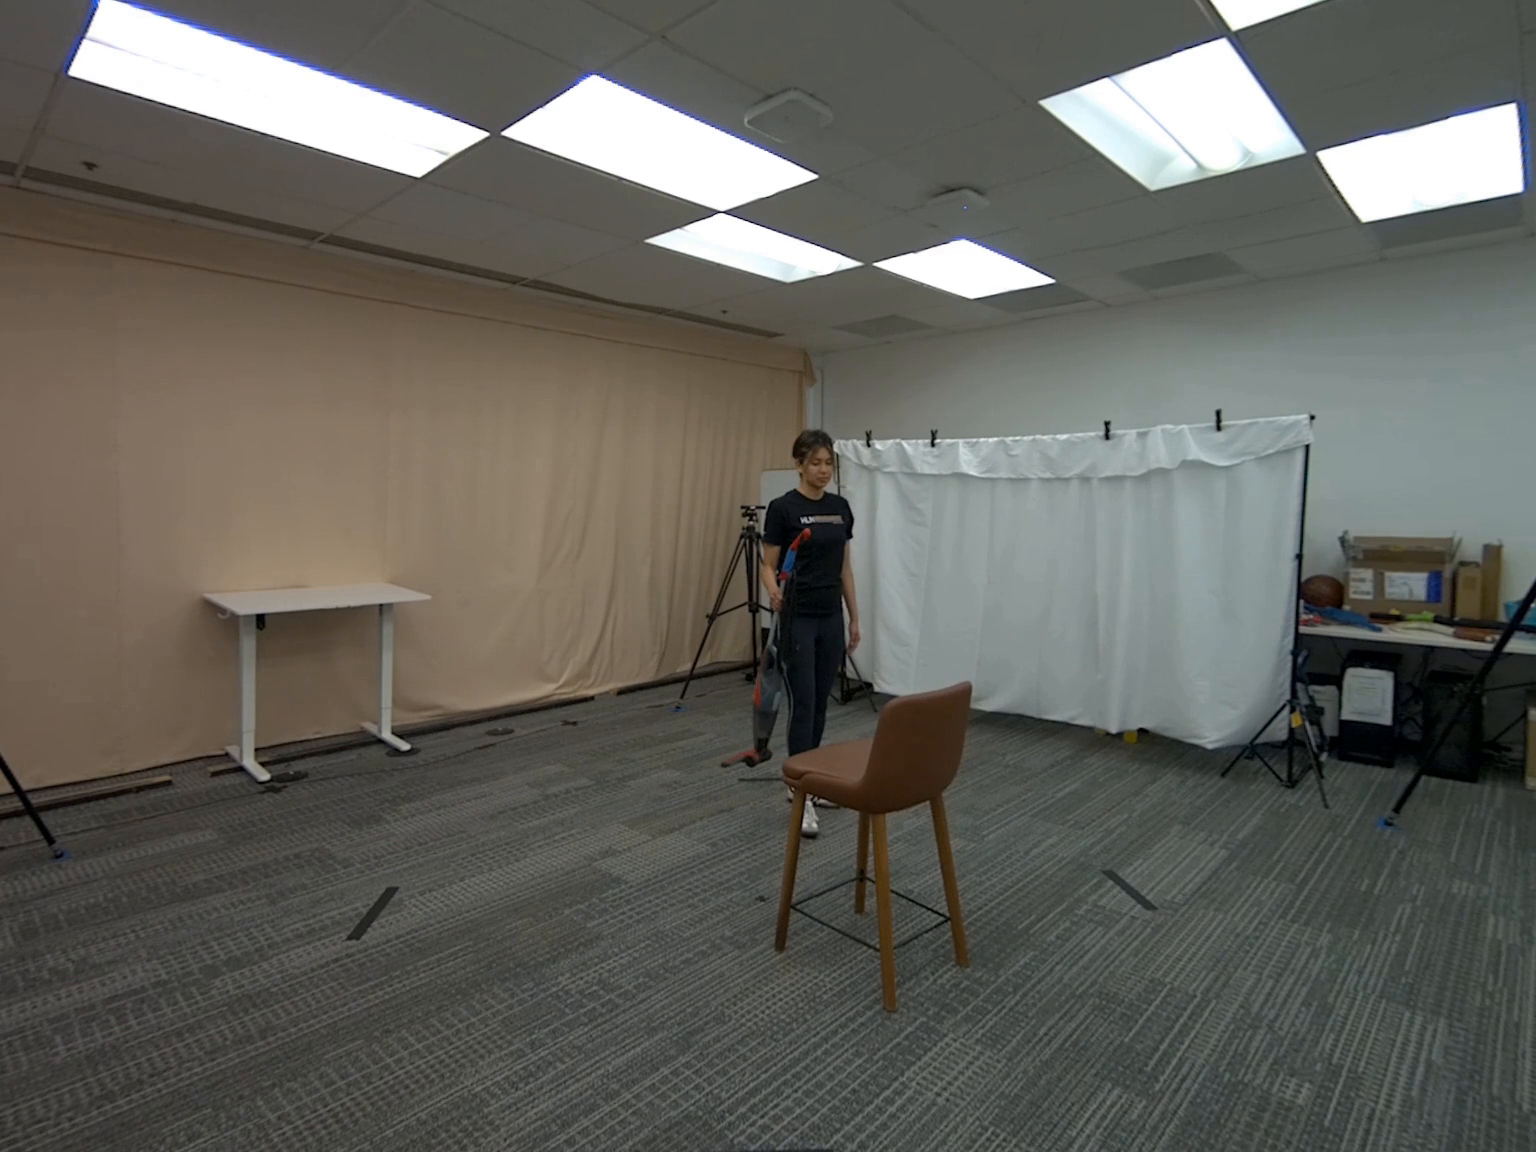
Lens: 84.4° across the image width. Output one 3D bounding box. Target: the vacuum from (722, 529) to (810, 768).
[{"bbox_3d":[0.033,0.321,3.529,0.149,1.043,0.245,22,17,31],"label":"vacuum"}]
